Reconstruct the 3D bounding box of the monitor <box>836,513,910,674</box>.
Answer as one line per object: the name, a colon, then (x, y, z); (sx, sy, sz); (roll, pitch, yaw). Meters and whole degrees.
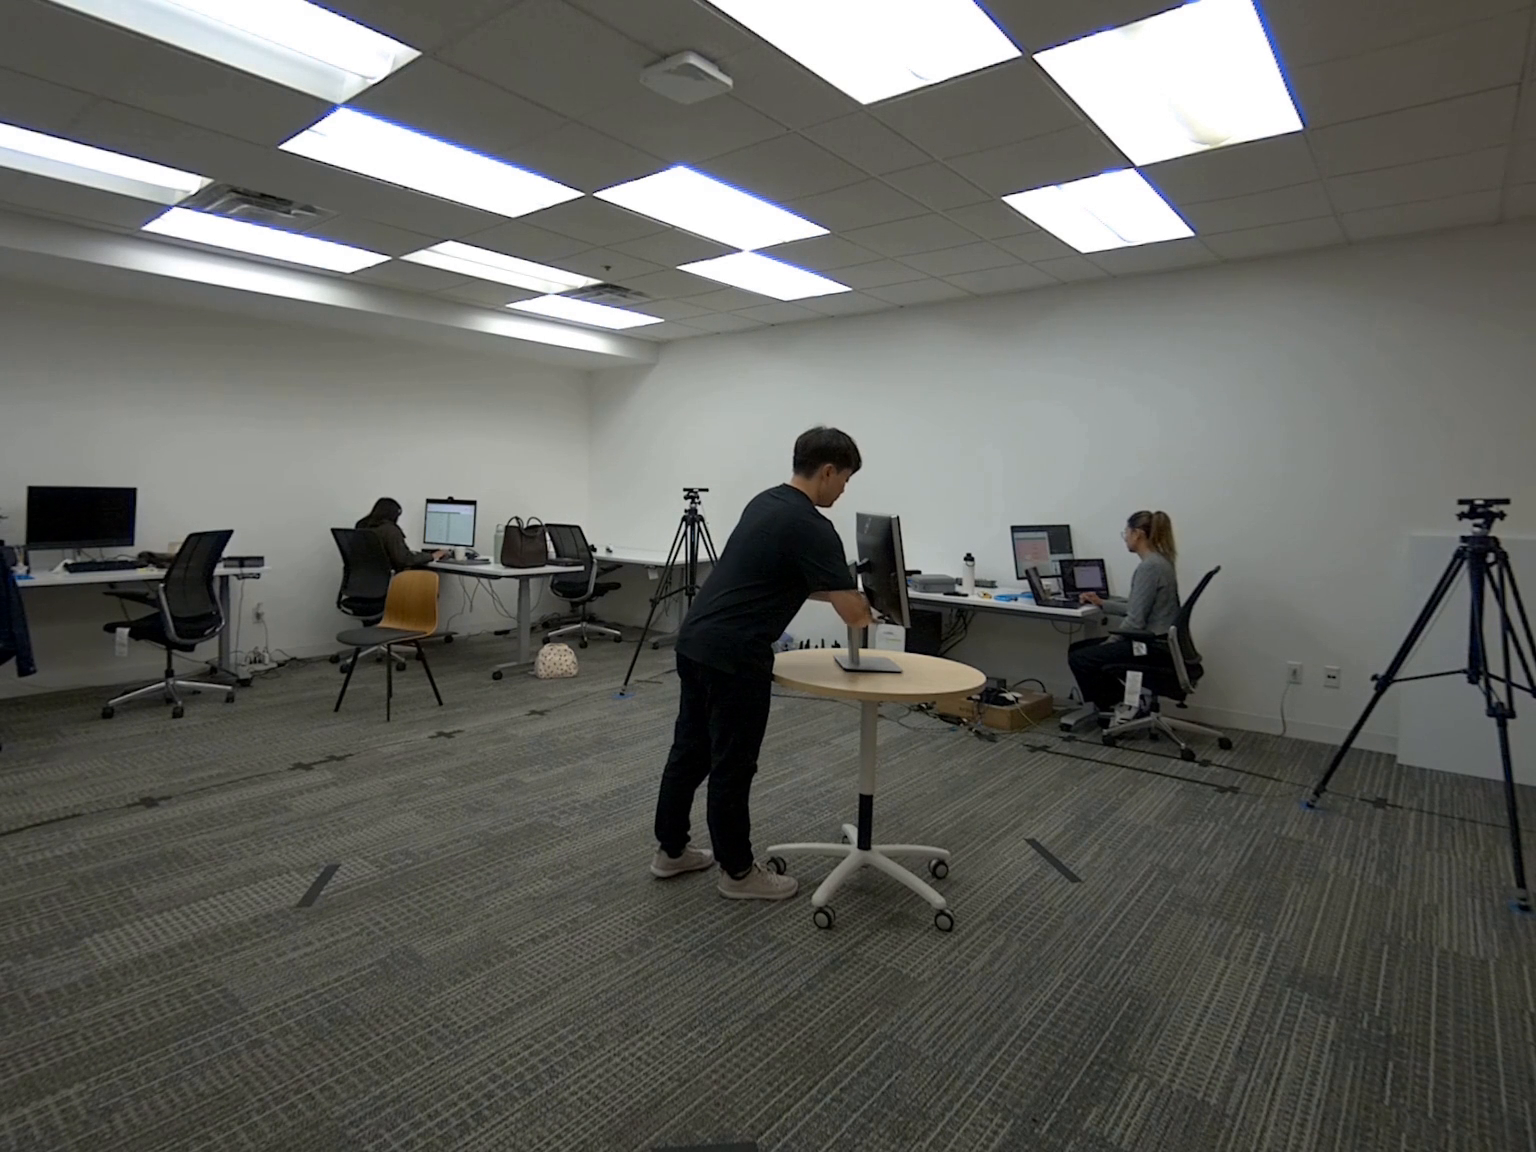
monitor: (0.351, 0.055, 2.985); (0.186, 0.521, 0.544); (3, 4, -7)
